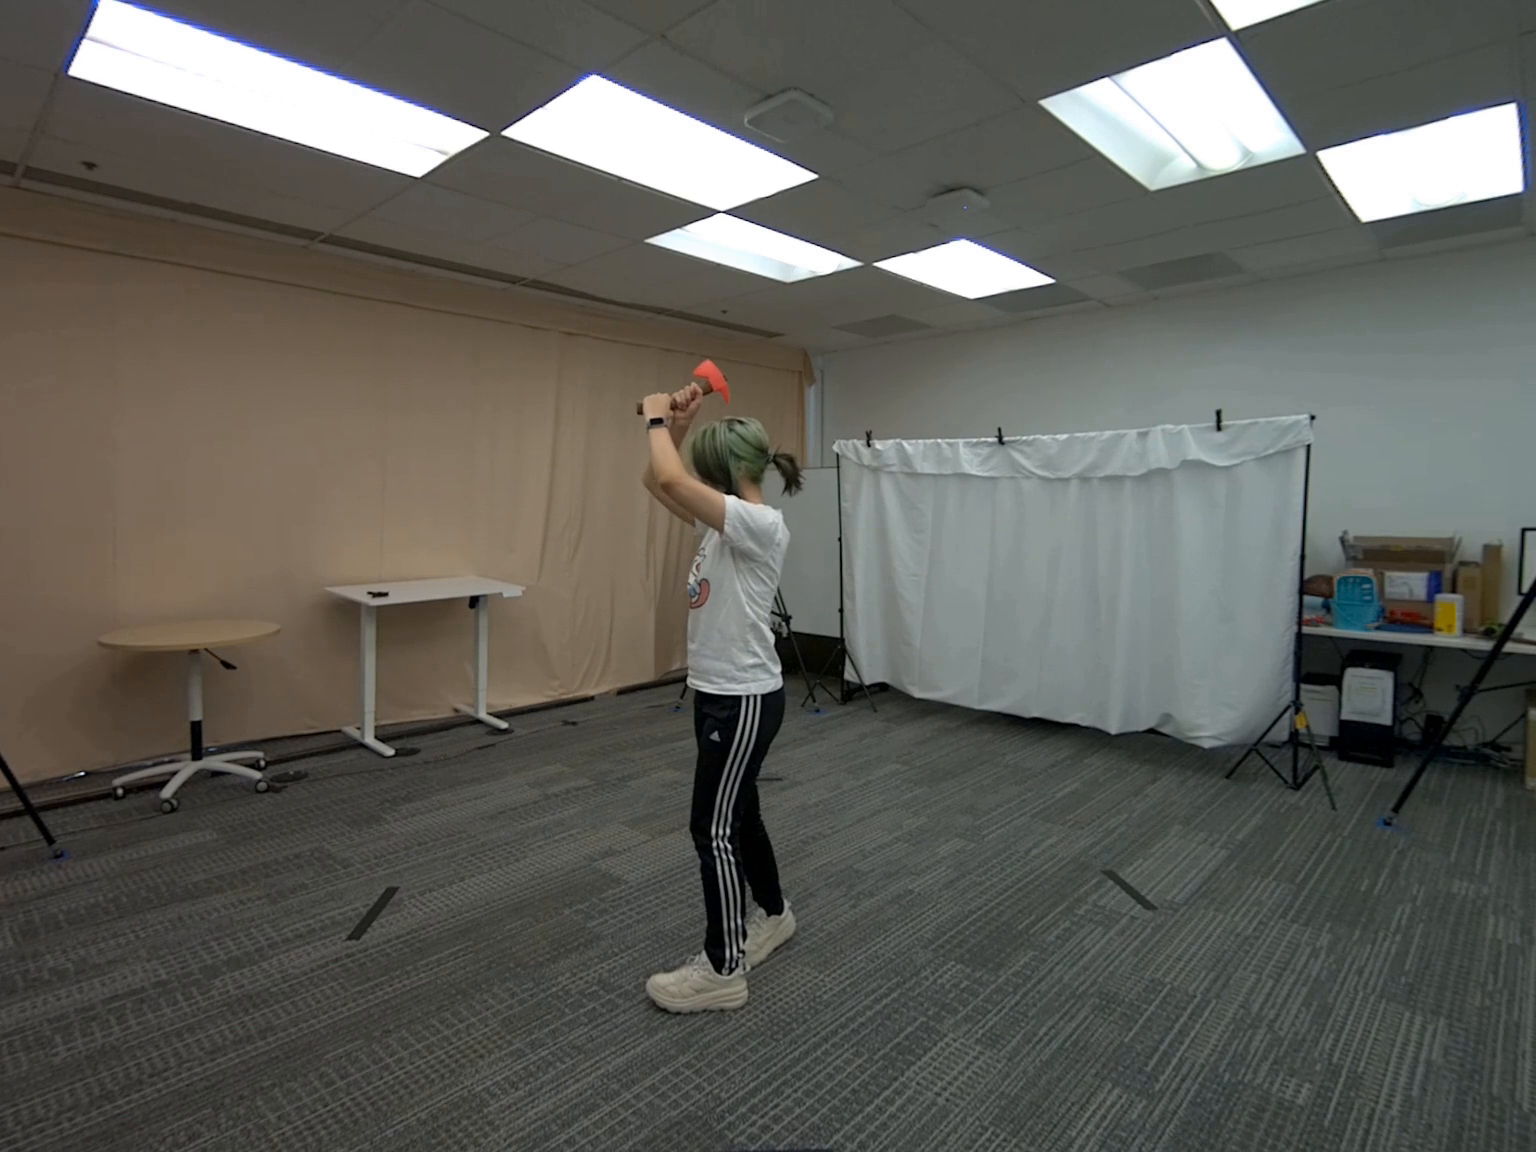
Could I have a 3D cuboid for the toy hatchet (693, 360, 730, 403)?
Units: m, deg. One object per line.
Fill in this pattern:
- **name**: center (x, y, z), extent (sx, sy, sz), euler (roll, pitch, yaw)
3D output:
- **toy hatchet**: center (-0.249, -0.545, 2.381), extent (0.270, 0.131, 0.030), euler (-7, 2, -1)
